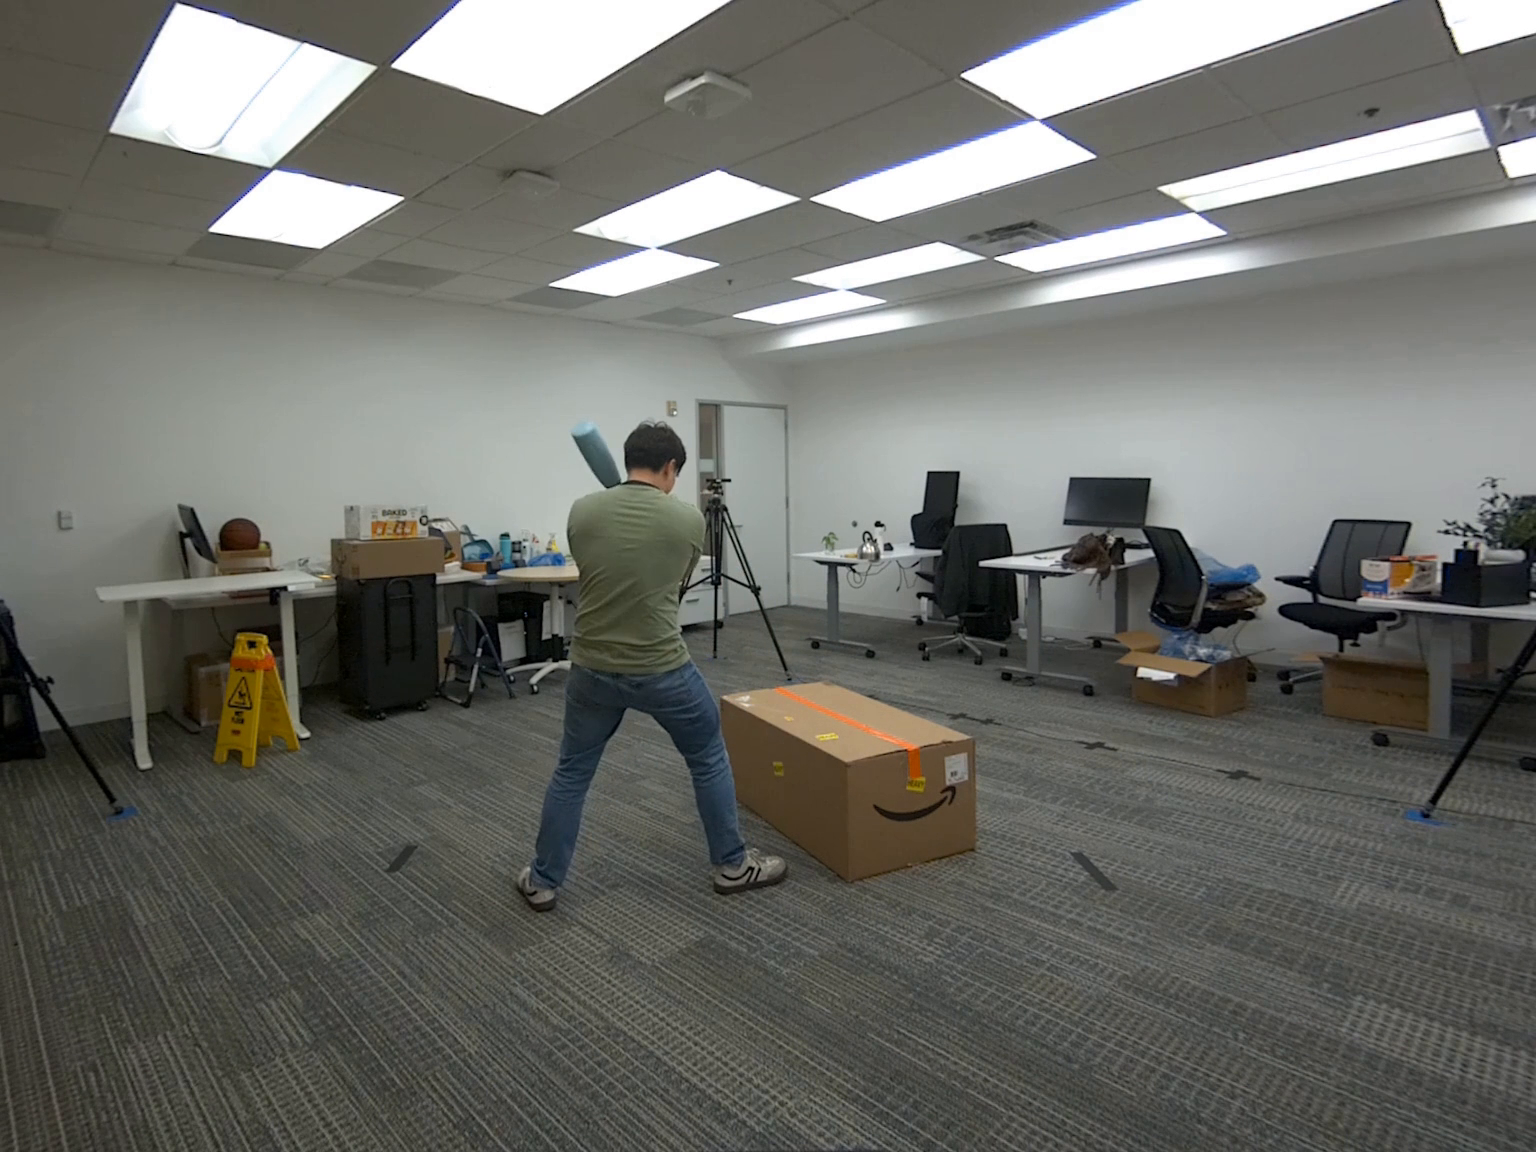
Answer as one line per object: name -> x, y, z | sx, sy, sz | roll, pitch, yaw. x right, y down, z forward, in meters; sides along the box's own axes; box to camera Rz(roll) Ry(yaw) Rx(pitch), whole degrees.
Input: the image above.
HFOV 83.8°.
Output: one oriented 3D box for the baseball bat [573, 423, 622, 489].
baseball bat -> -0.513, -0.312, 3.064 | 0.090, 0.524, 0.091 | -12, 44, 10
